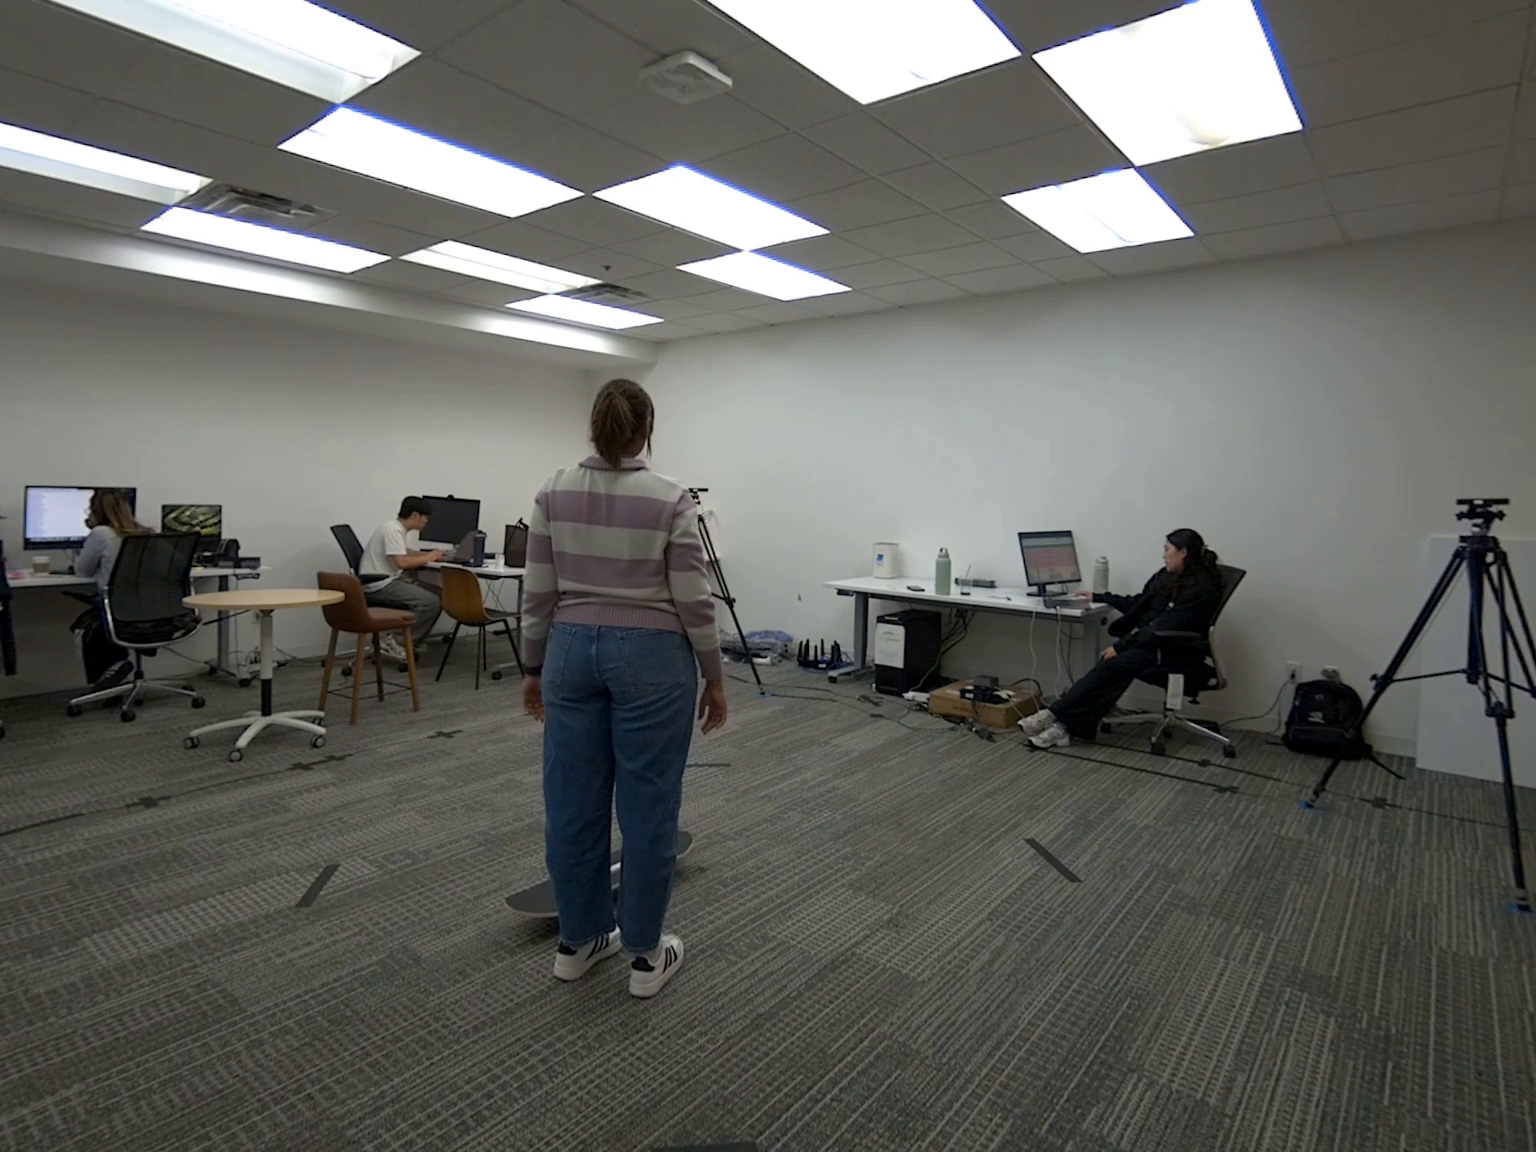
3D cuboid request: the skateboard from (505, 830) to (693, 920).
[{"bbox_3d":[-0.548,1.026,2.877,0.200,0.110,0.763,5,7,38],"label":"skateboard"}]
